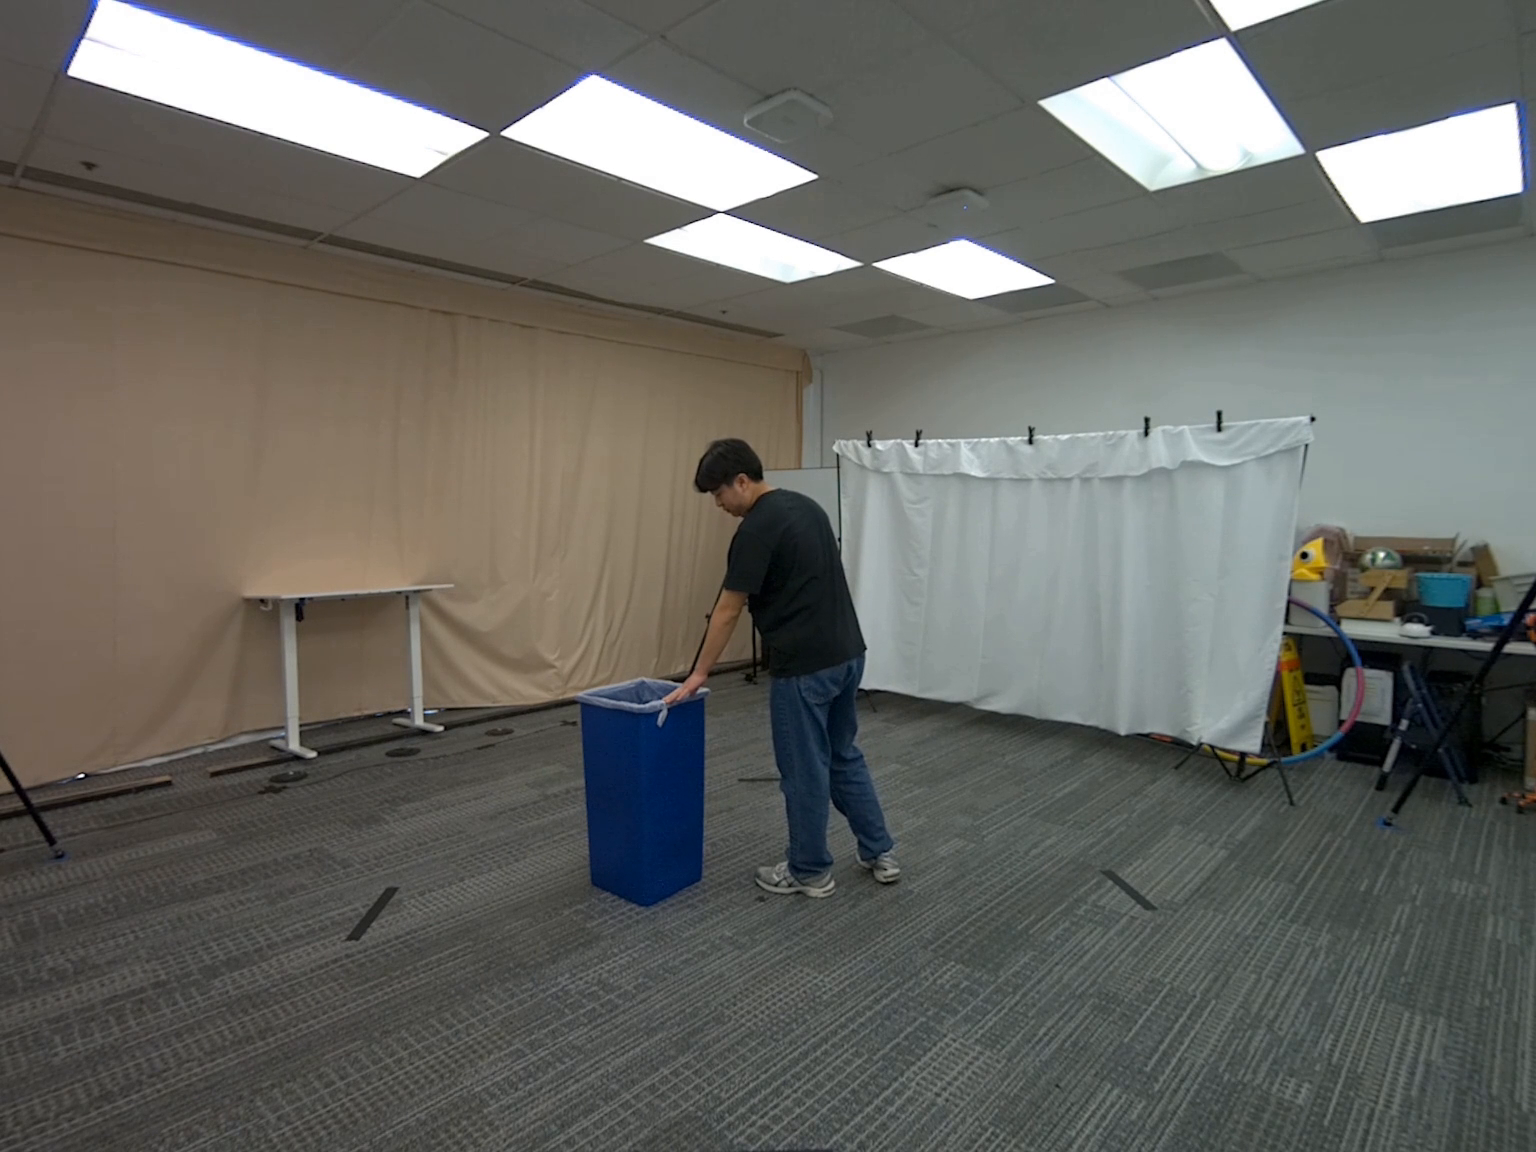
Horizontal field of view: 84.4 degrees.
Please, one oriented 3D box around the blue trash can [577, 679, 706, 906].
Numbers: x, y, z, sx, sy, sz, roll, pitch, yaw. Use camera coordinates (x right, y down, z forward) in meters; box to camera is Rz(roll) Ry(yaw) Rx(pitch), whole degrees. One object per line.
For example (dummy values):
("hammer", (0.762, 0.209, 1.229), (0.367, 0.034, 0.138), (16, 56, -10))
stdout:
("blue trash can", (-0.464, 0.782, 3.118), (0.386, 0.712, 0.367), (2, 4, 38))
